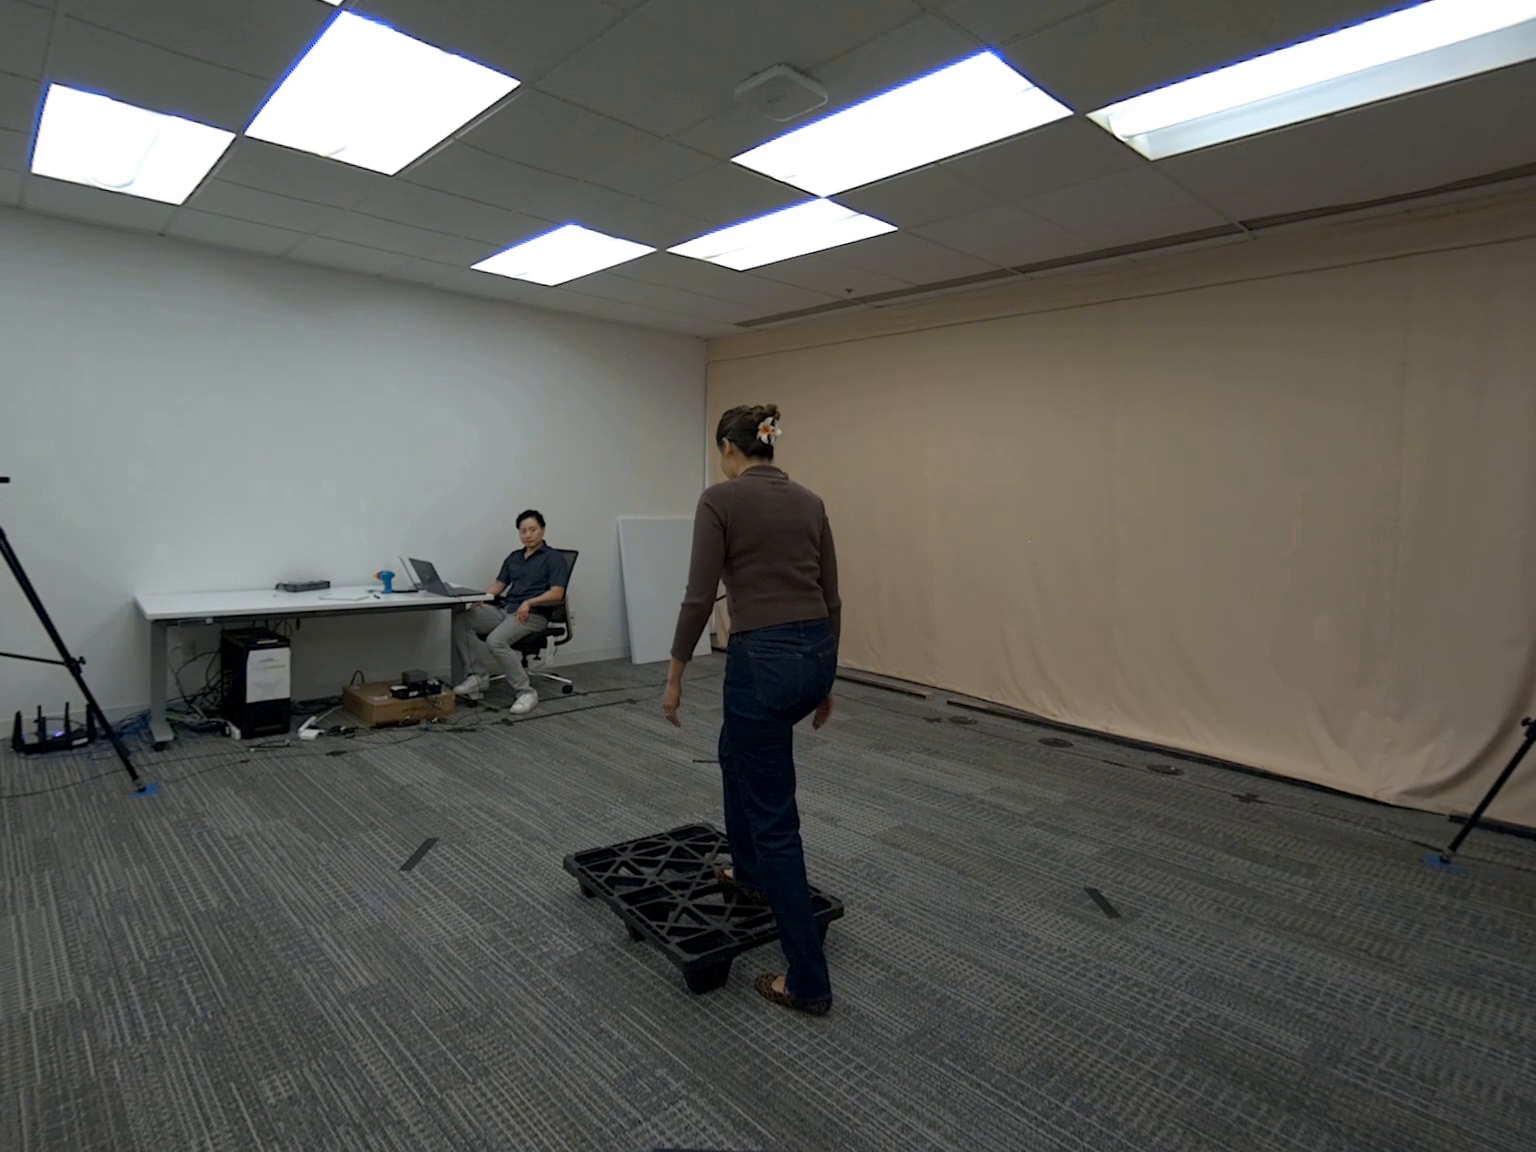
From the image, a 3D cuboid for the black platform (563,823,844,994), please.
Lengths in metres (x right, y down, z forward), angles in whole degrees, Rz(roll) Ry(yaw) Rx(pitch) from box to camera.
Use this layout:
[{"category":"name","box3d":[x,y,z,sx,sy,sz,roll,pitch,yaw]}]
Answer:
[{"category":"black platform","box3d":[-0.242,1.065,2.777,0.592,0.143,0.826,-2,6,-37]}]
